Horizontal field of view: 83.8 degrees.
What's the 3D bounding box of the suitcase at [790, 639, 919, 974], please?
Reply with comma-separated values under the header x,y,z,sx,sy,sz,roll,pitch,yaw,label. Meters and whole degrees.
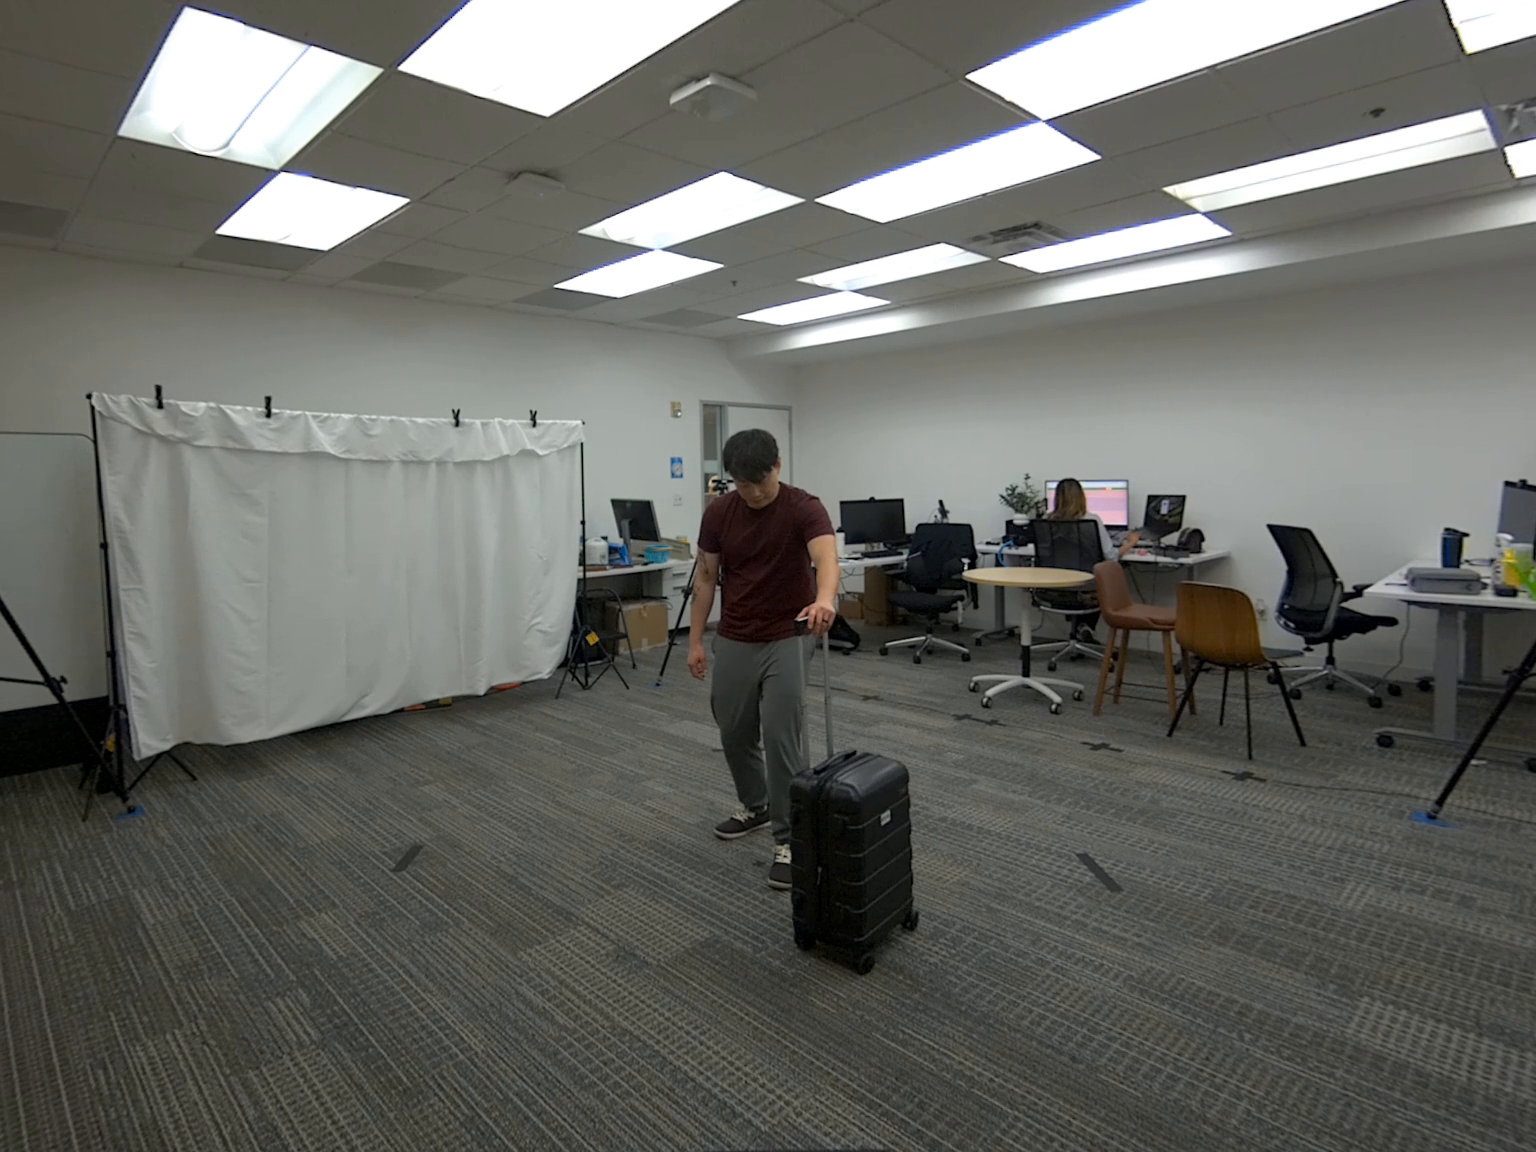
x,y,z,sx,sy,sz,roll,pitch,yaw,label
0.259,0.630,2.552,0.265,0.973,0.375,4,8,38,suitcase
